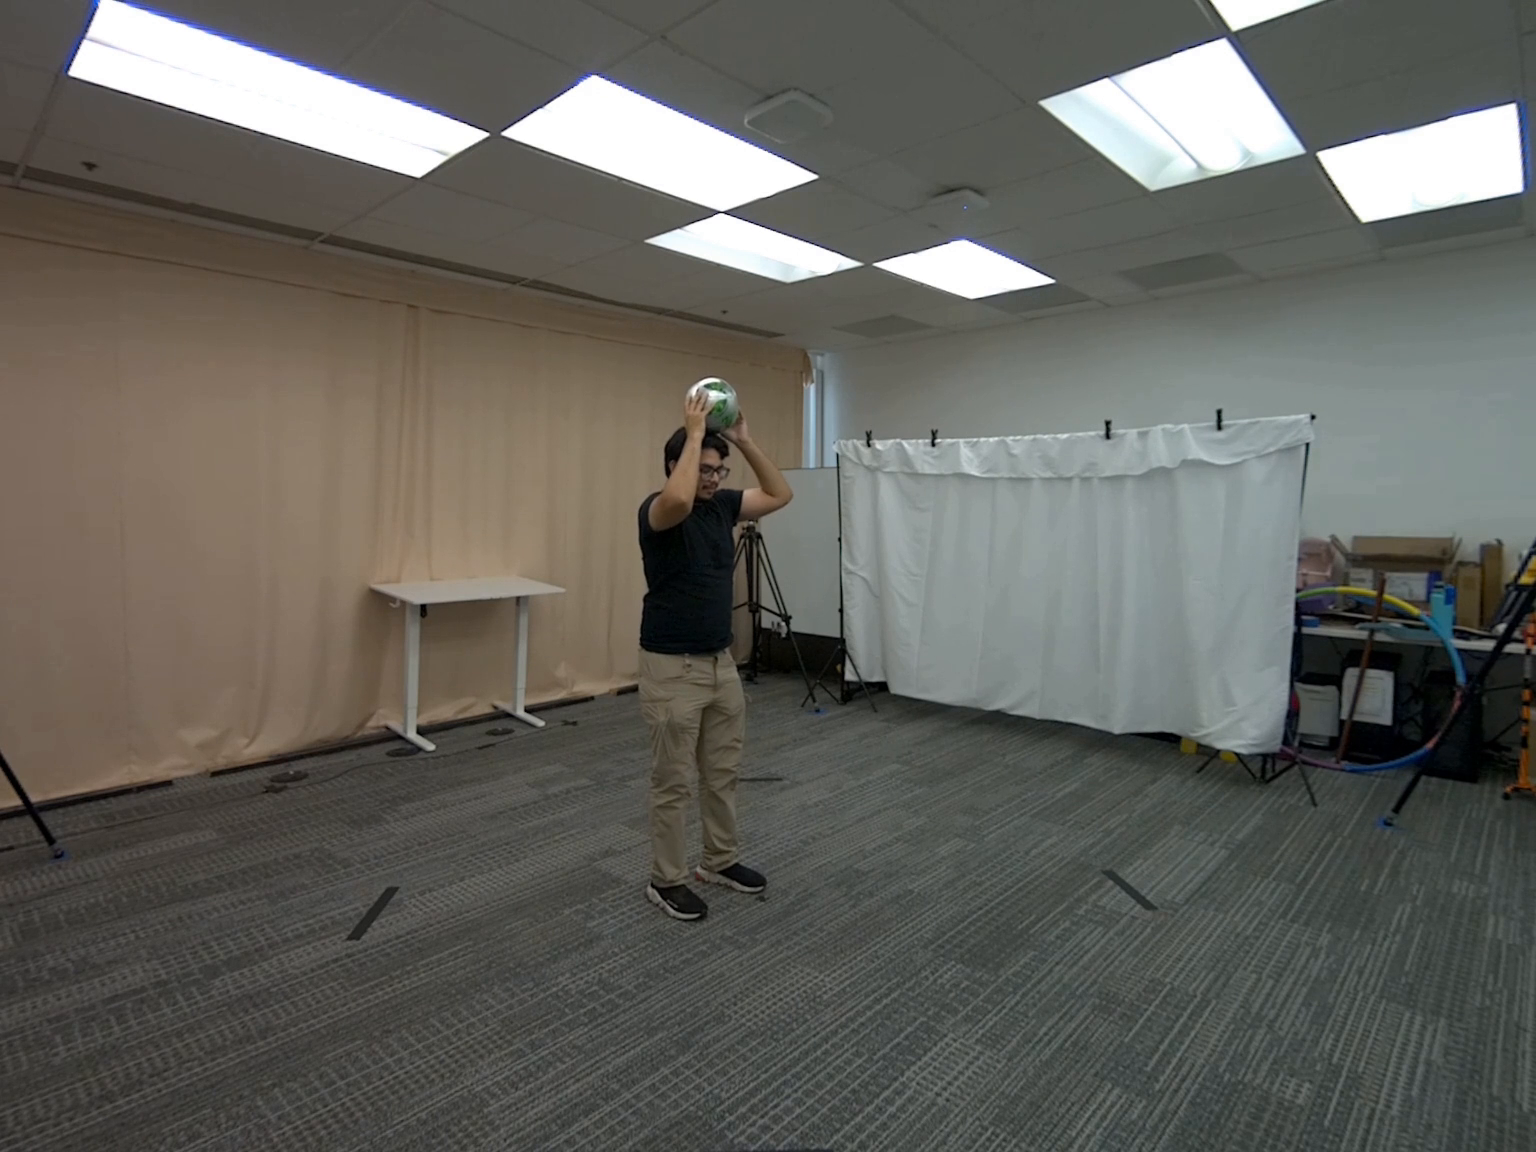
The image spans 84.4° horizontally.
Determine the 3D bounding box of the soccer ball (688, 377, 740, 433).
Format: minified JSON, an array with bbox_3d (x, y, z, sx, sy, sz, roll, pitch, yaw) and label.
[{"bbox_3d":[-0.182,-0.563,2.817,0.187,0.187,0.188,0,4,-2],"label":"soccer ball"}]
